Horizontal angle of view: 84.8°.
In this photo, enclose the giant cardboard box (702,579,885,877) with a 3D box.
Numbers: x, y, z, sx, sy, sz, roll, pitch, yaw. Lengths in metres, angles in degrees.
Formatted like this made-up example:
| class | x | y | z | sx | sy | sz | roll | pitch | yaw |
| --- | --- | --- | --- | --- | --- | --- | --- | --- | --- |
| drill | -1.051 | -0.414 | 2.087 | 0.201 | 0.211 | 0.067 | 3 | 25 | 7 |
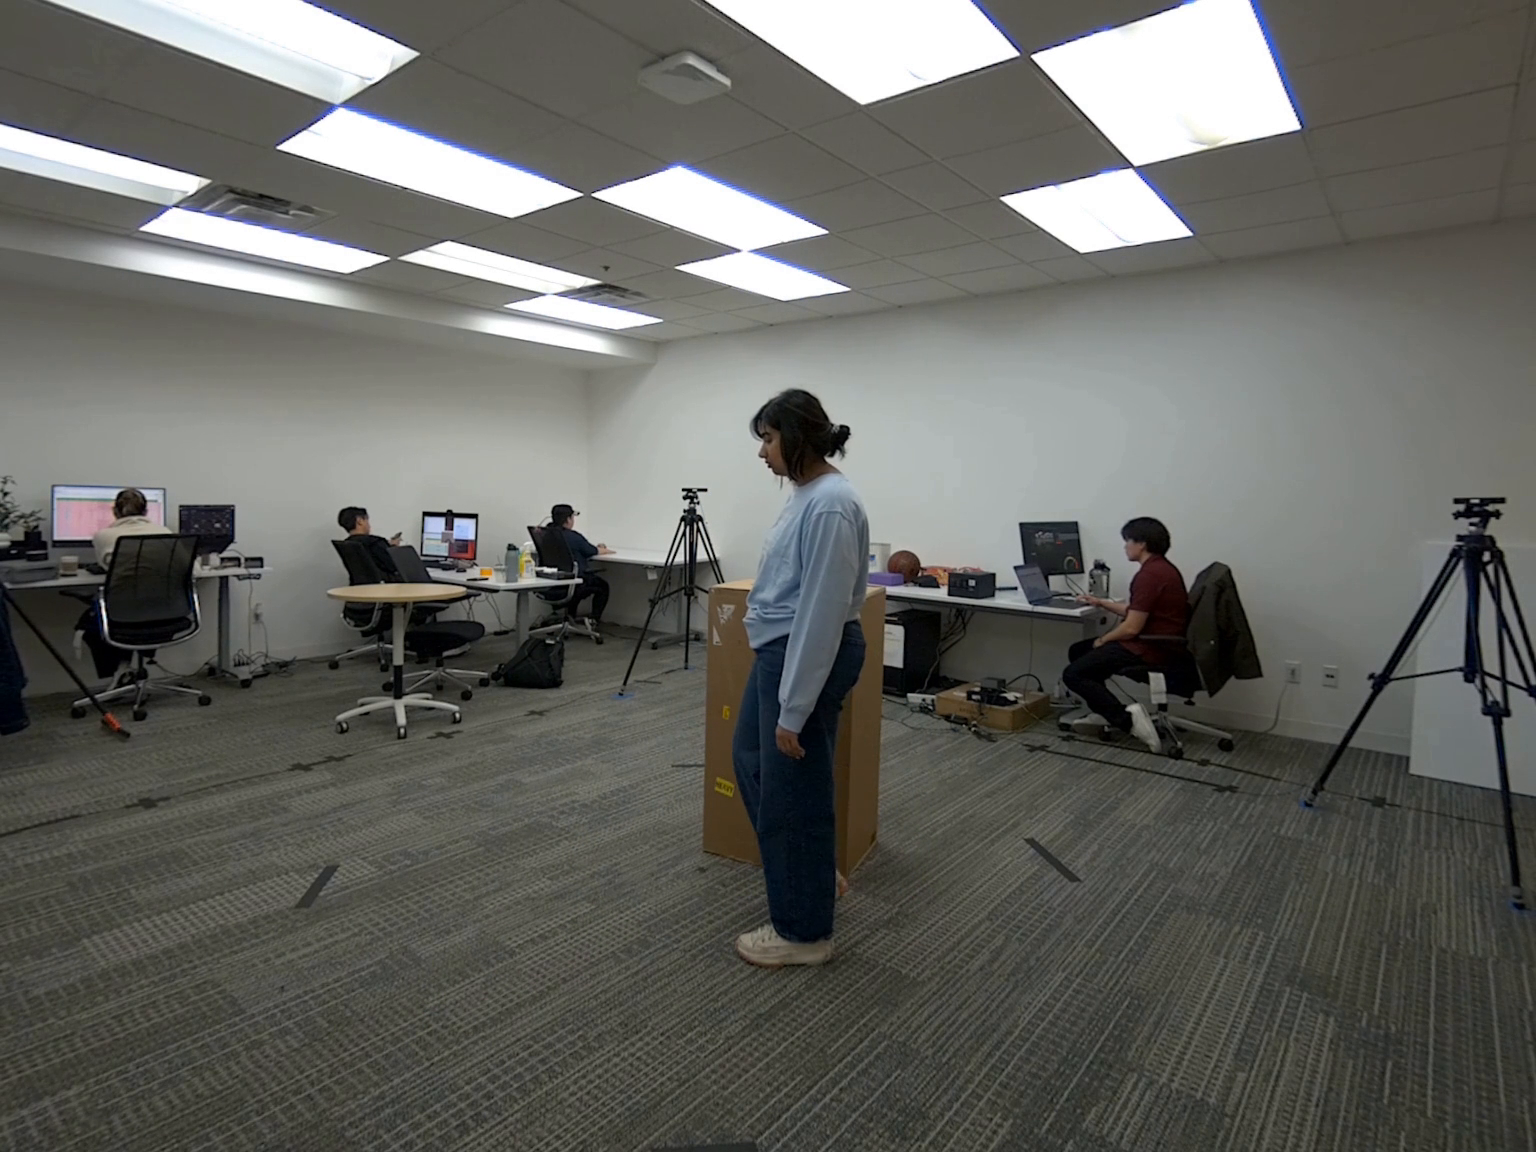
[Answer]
| class | x | y | z | sx | sy | sz | roll | pitch | yaw |
| --- | --- | --- | --- | --- | --- | --- | --- | --- | --- |
| giant cardboard box | 0.097 | 0.549 | 3.293 | 0.593 | 1.023 | 0.416 | 3 | 4 | 26 |
